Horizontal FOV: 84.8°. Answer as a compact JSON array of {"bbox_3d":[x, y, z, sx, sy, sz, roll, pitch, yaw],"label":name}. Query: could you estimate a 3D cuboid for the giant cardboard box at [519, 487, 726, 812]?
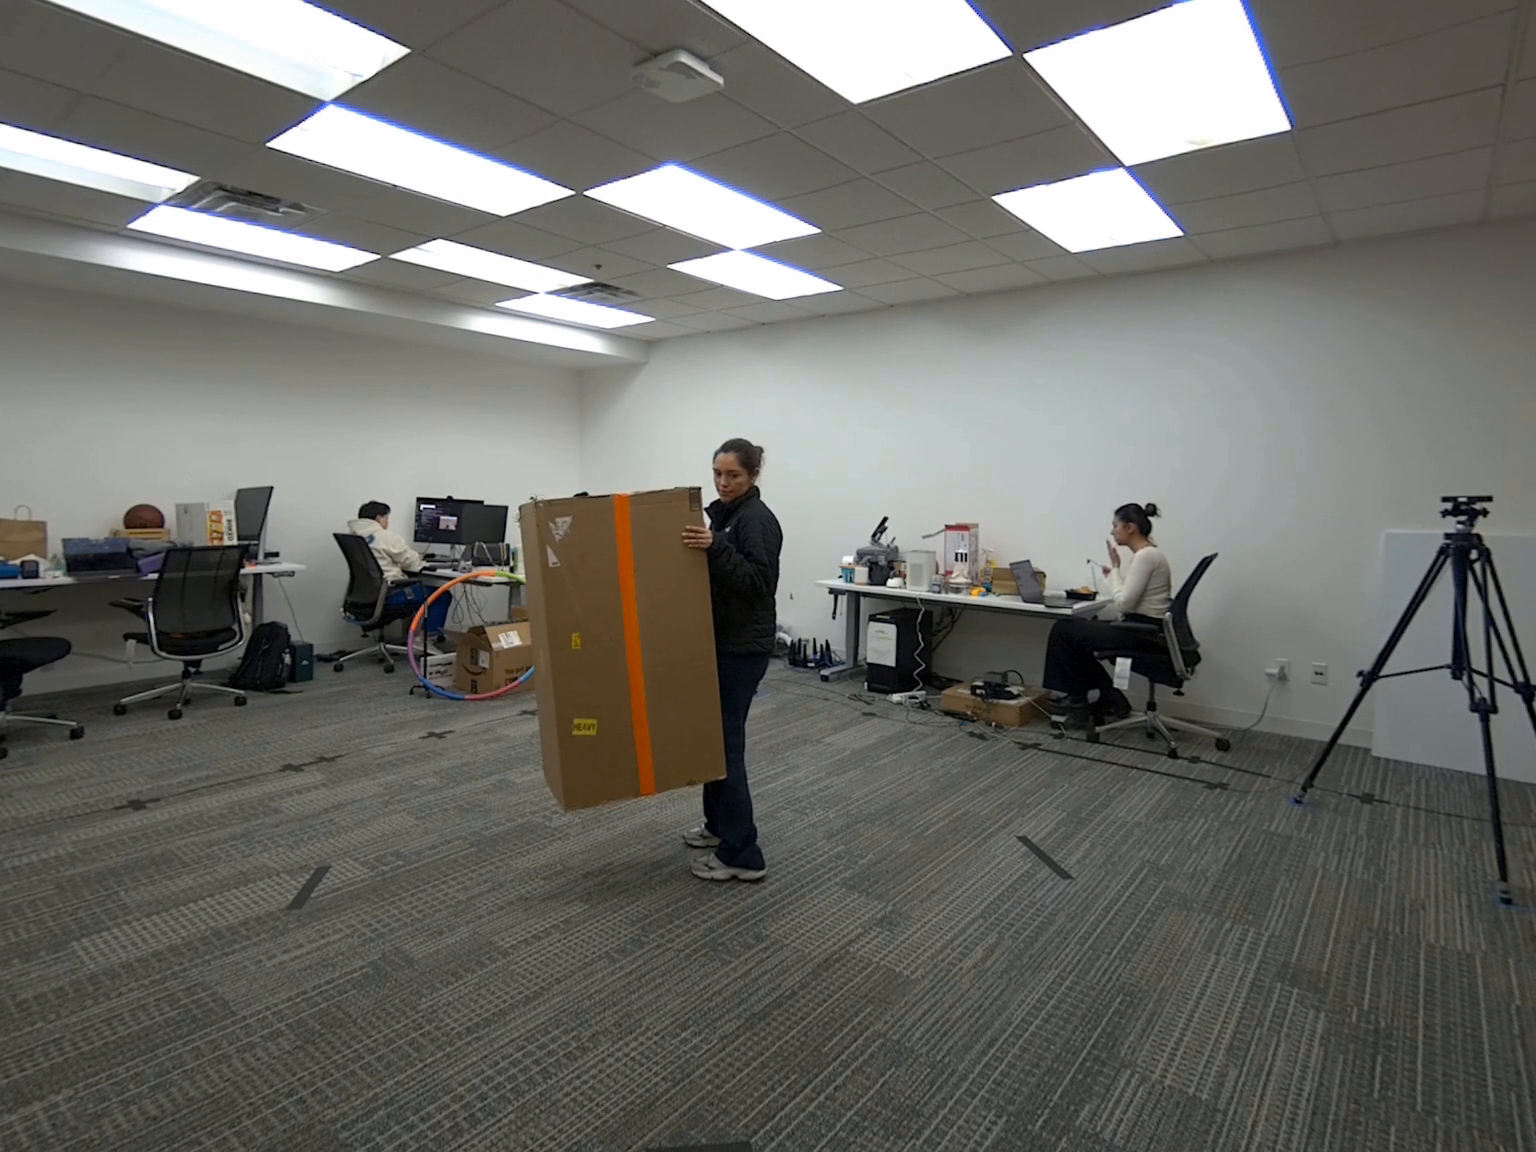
[{"bbox_3d":[-0.524,0.222,3.063,0.567,1.024,0.434,-6,2,-19],"label":"giant cardboard box"}]
